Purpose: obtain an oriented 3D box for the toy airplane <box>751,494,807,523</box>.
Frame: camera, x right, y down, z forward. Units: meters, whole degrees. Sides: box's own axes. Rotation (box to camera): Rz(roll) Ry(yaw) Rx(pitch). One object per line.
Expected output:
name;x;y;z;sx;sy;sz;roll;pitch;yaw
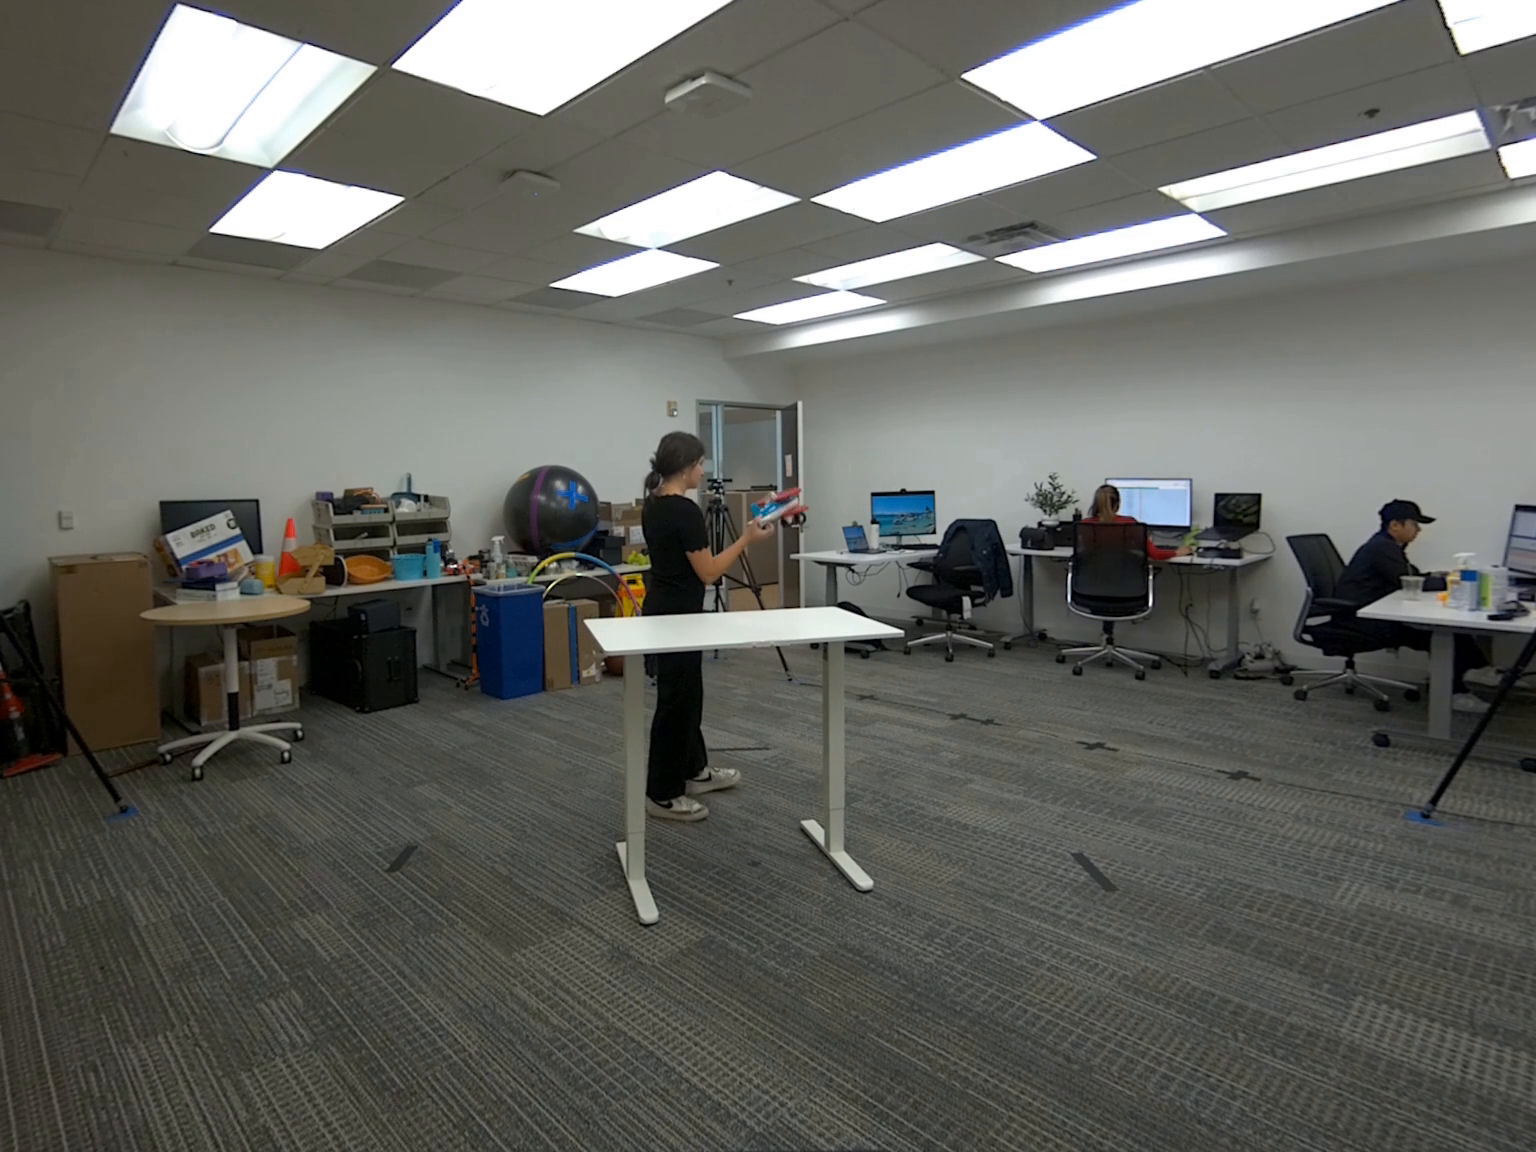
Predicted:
toy airplane;0.026;-0.215;3.565;0.256;0.157;0.253;-1;-1;22
